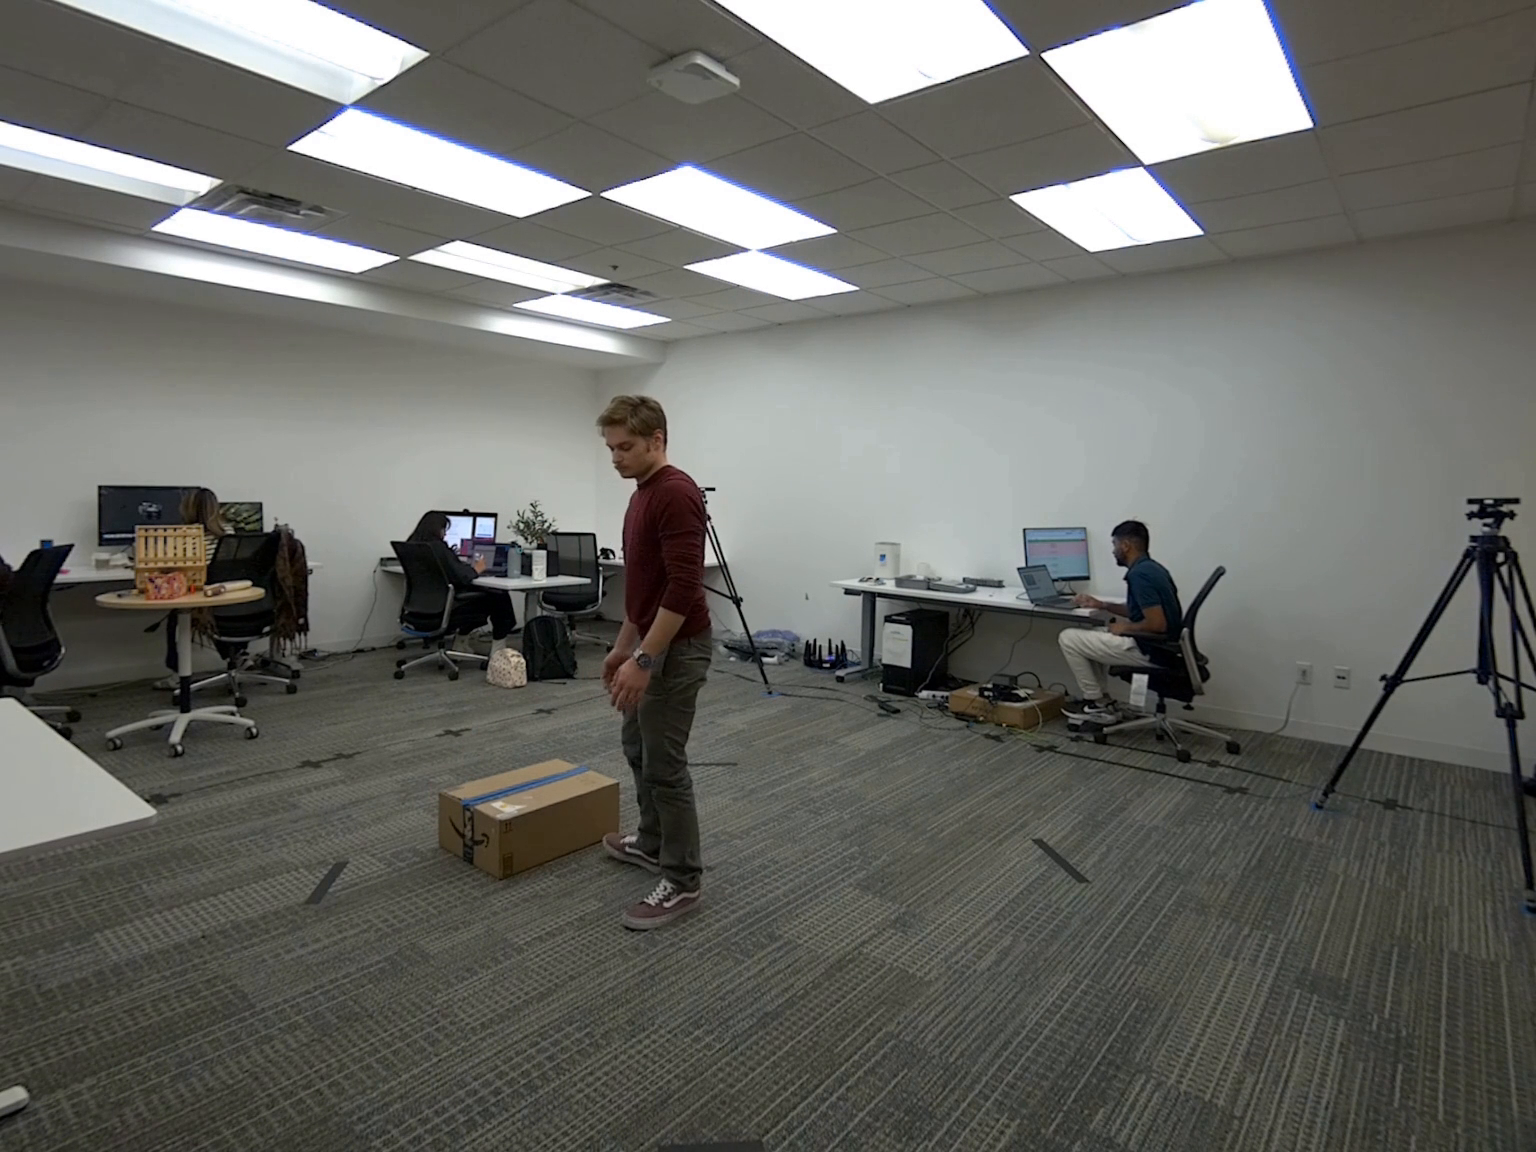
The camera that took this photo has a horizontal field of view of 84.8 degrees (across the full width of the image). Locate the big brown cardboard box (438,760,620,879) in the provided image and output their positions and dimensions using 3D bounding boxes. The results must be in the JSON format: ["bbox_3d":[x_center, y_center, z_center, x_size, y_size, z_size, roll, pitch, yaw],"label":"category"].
[{"bbox_3d":[-0.940,0.924,3.319,0.432,0.232,0.571,5,6,39],"label":"big brown cardboard box"}]
